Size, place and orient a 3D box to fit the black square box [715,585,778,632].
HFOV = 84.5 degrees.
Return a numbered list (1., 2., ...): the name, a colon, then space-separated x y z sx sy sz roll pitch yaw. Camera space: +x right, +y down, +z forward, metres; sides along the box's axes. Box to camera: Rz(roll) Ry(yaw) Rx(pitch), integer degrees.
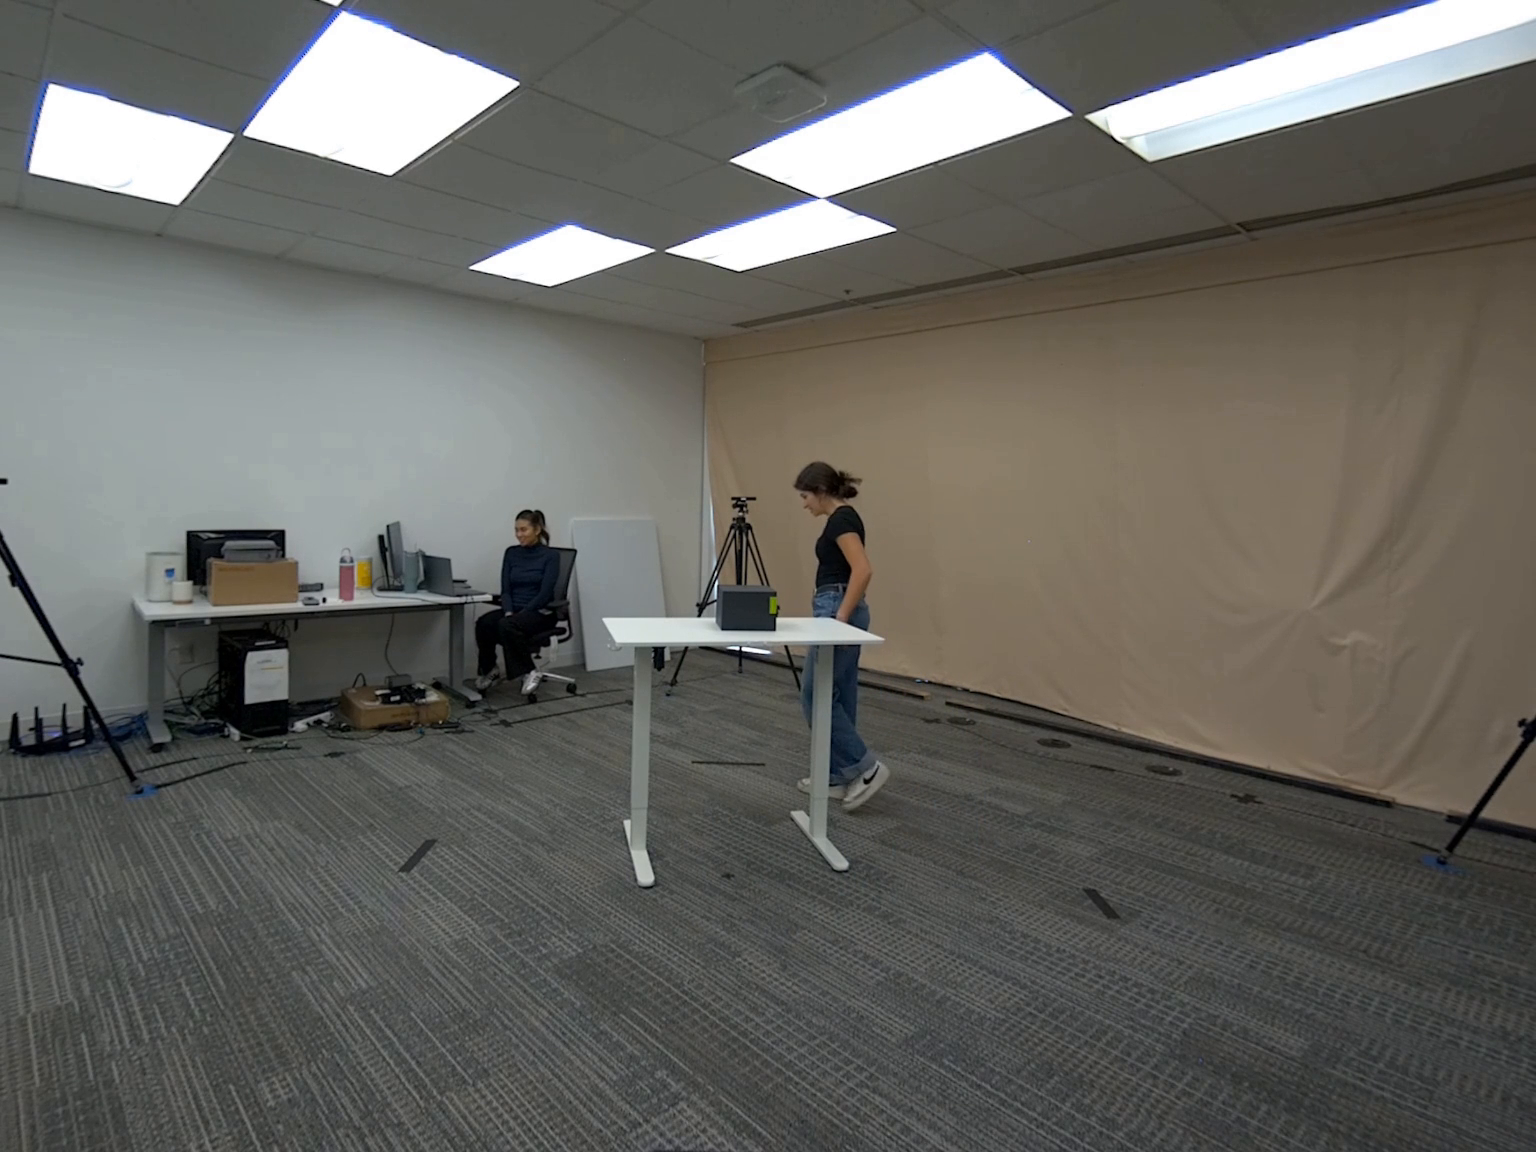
1. black square box: -0.093 0.119 3.356 0.216 0.155 0.230 1 4 -7
